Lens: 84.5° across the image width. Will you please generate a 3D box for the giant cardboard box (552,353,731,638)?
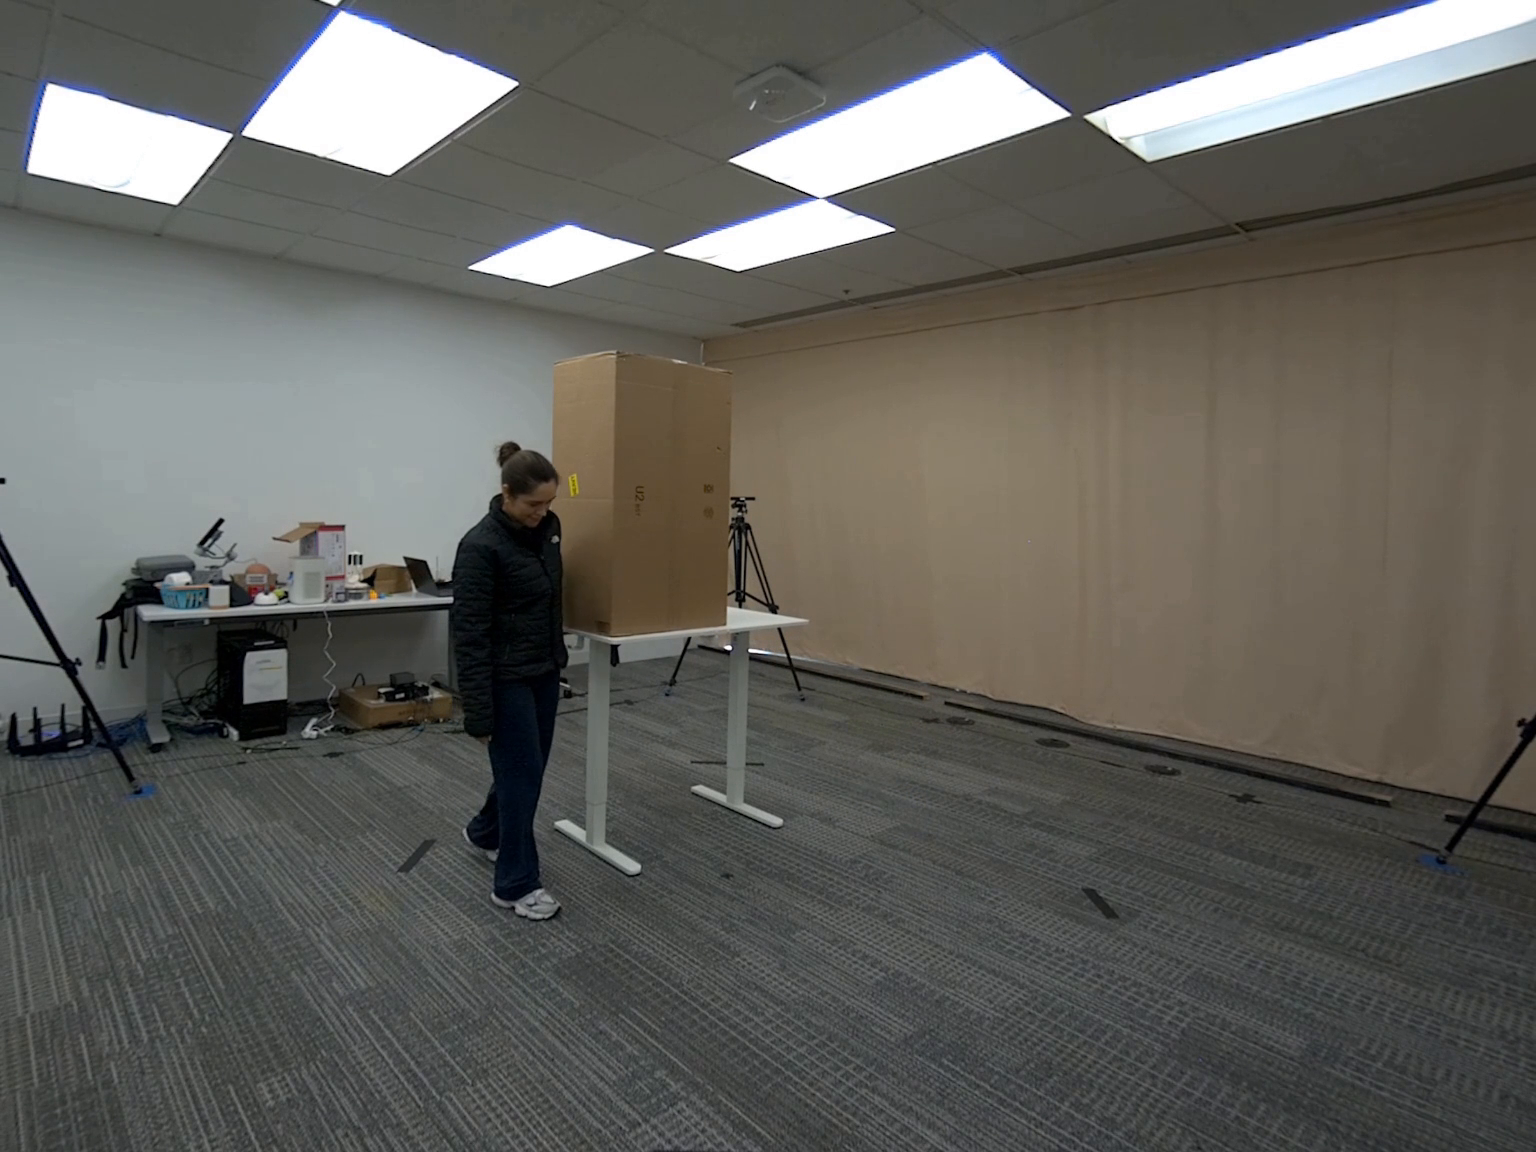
[{"bbox_3d":[-0.505,-0.310,3.322,0.437,1.024,0.564,4,4,45],"label":"giant cardboard box"}]
